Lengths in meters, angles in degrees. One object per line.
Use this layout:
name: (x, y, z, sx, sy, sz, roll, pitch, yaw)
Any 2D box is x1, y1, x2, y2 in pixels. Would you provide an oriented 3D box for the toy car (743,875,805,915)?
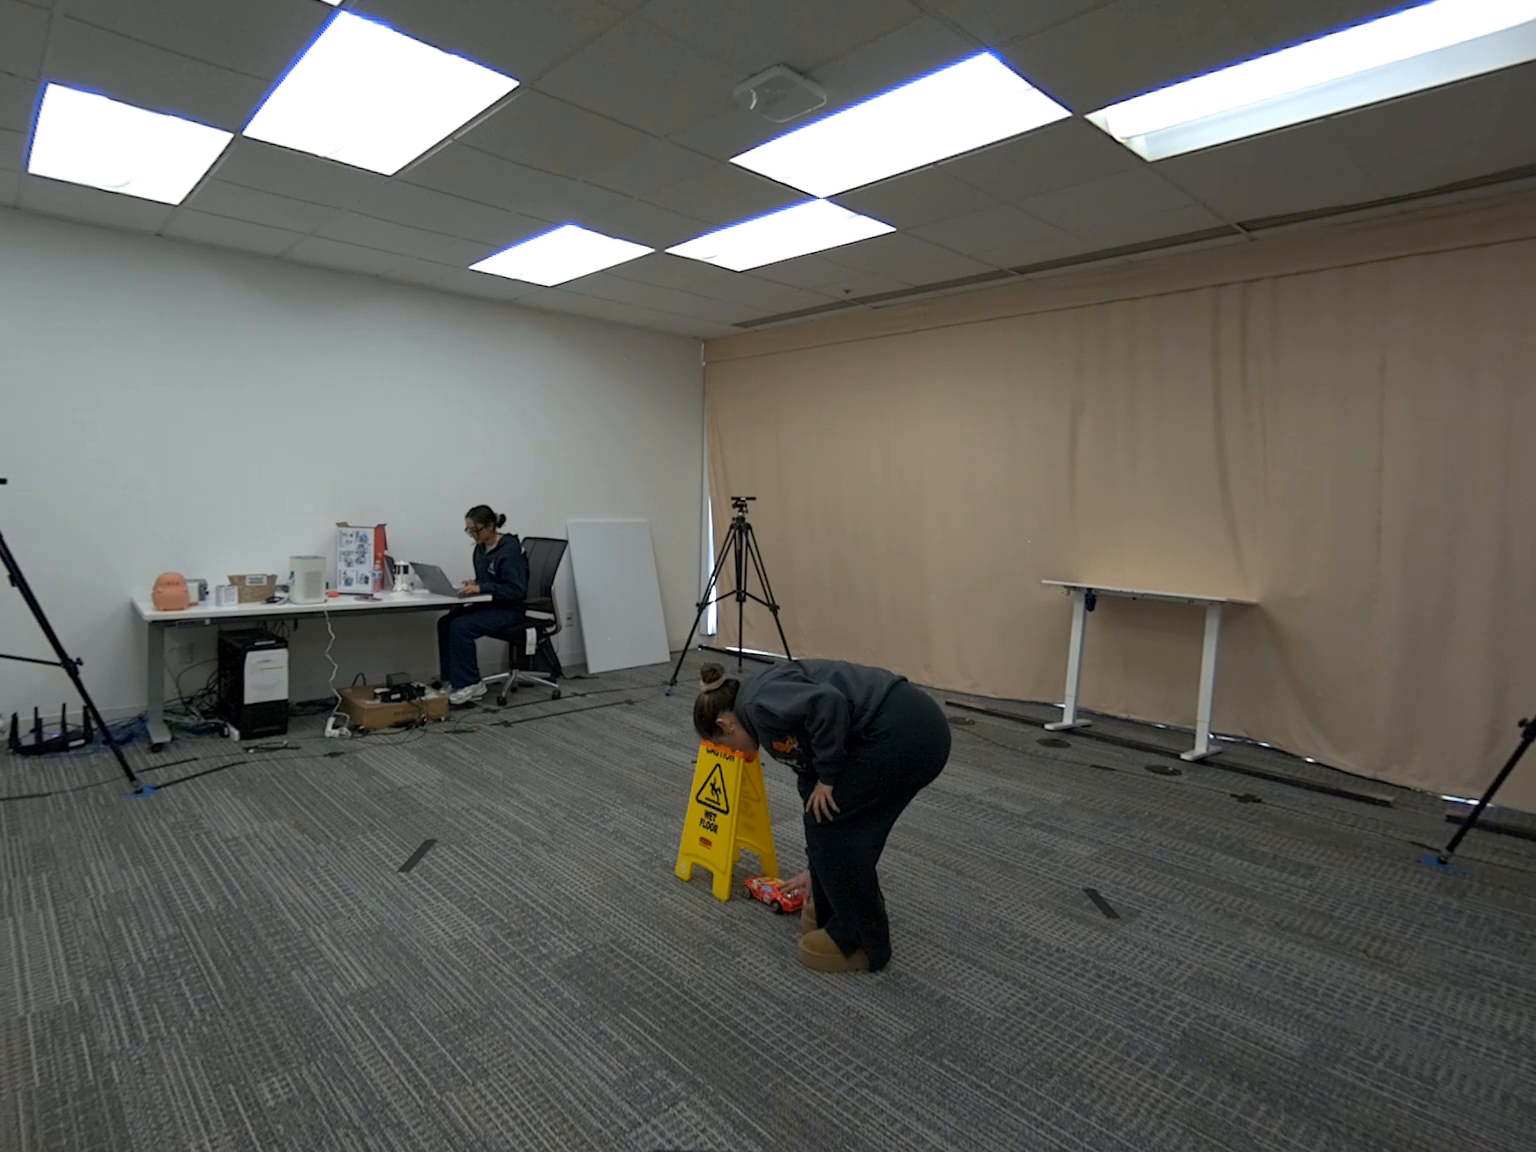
toy car: (0.017, 1.099, 2.906, 0.127, 0.083, 0.259, -4, -4, -43)
